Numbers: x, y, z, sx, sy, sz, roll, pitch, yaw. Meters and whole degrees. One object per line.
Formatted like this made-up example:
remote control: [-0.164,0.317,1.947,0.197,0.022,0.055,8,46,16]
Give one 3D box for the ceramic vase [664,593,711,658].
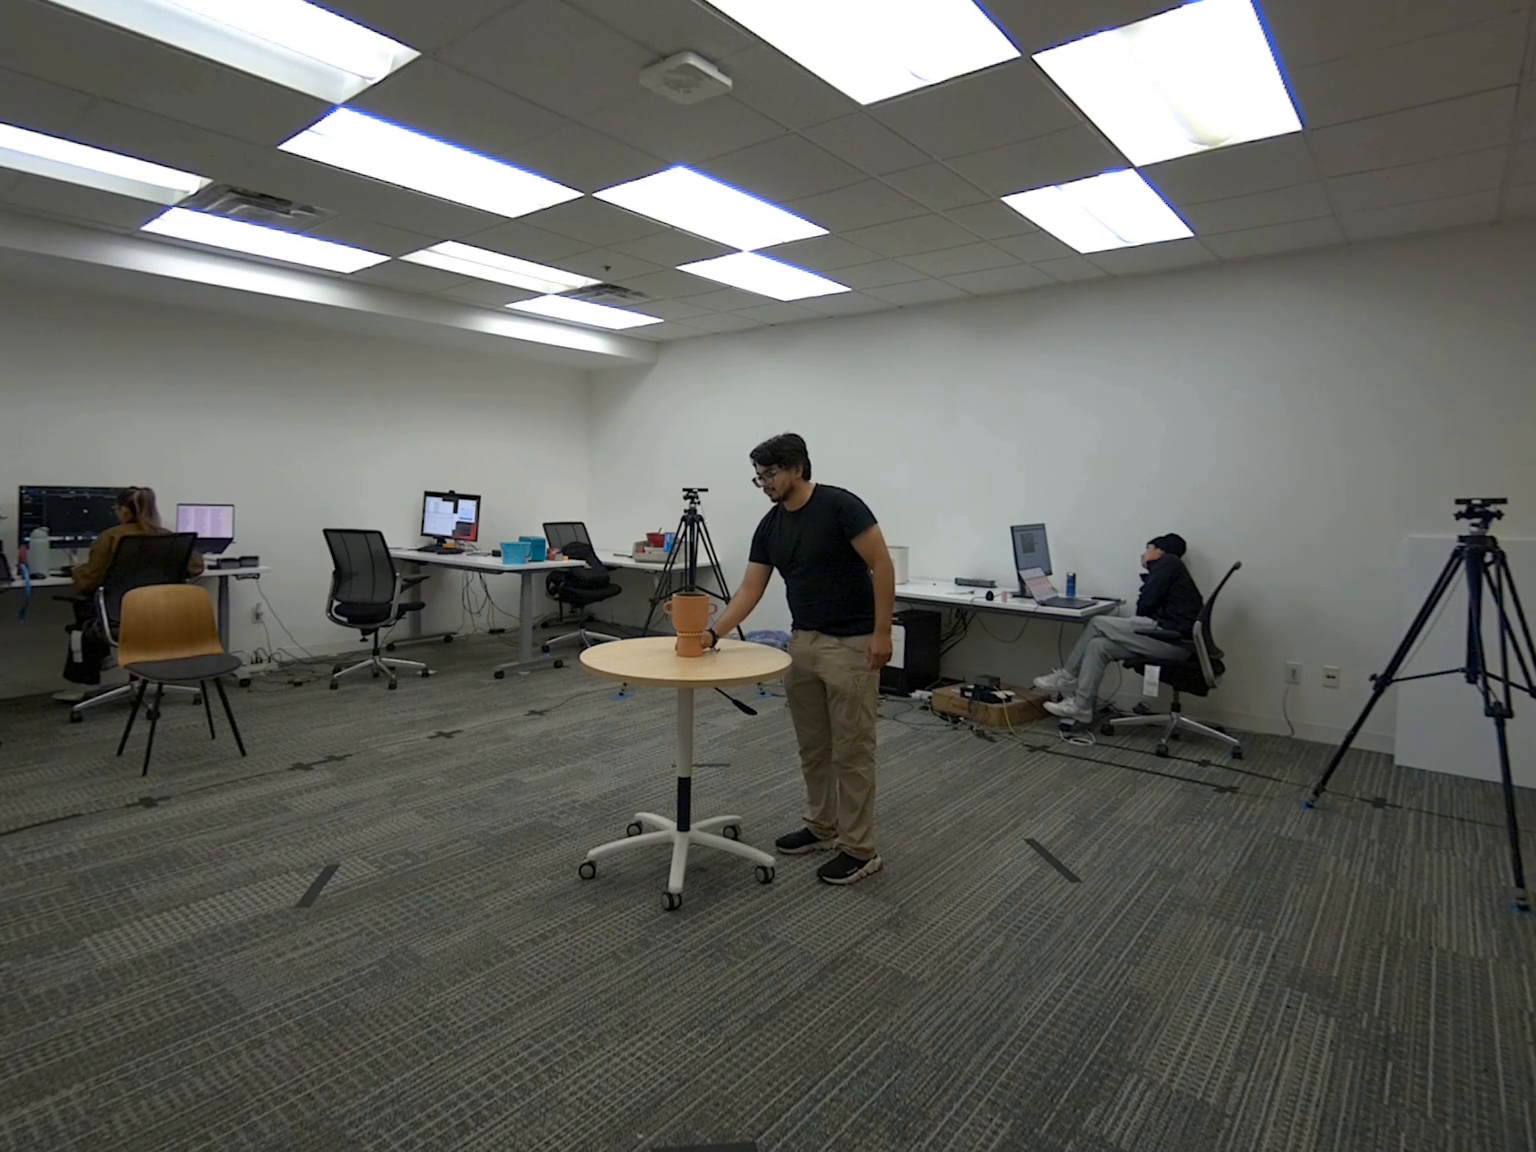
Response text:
ceramic vase: [-0.297,0.175,3.106,0.164,0.219,0.131,4,5,34]
